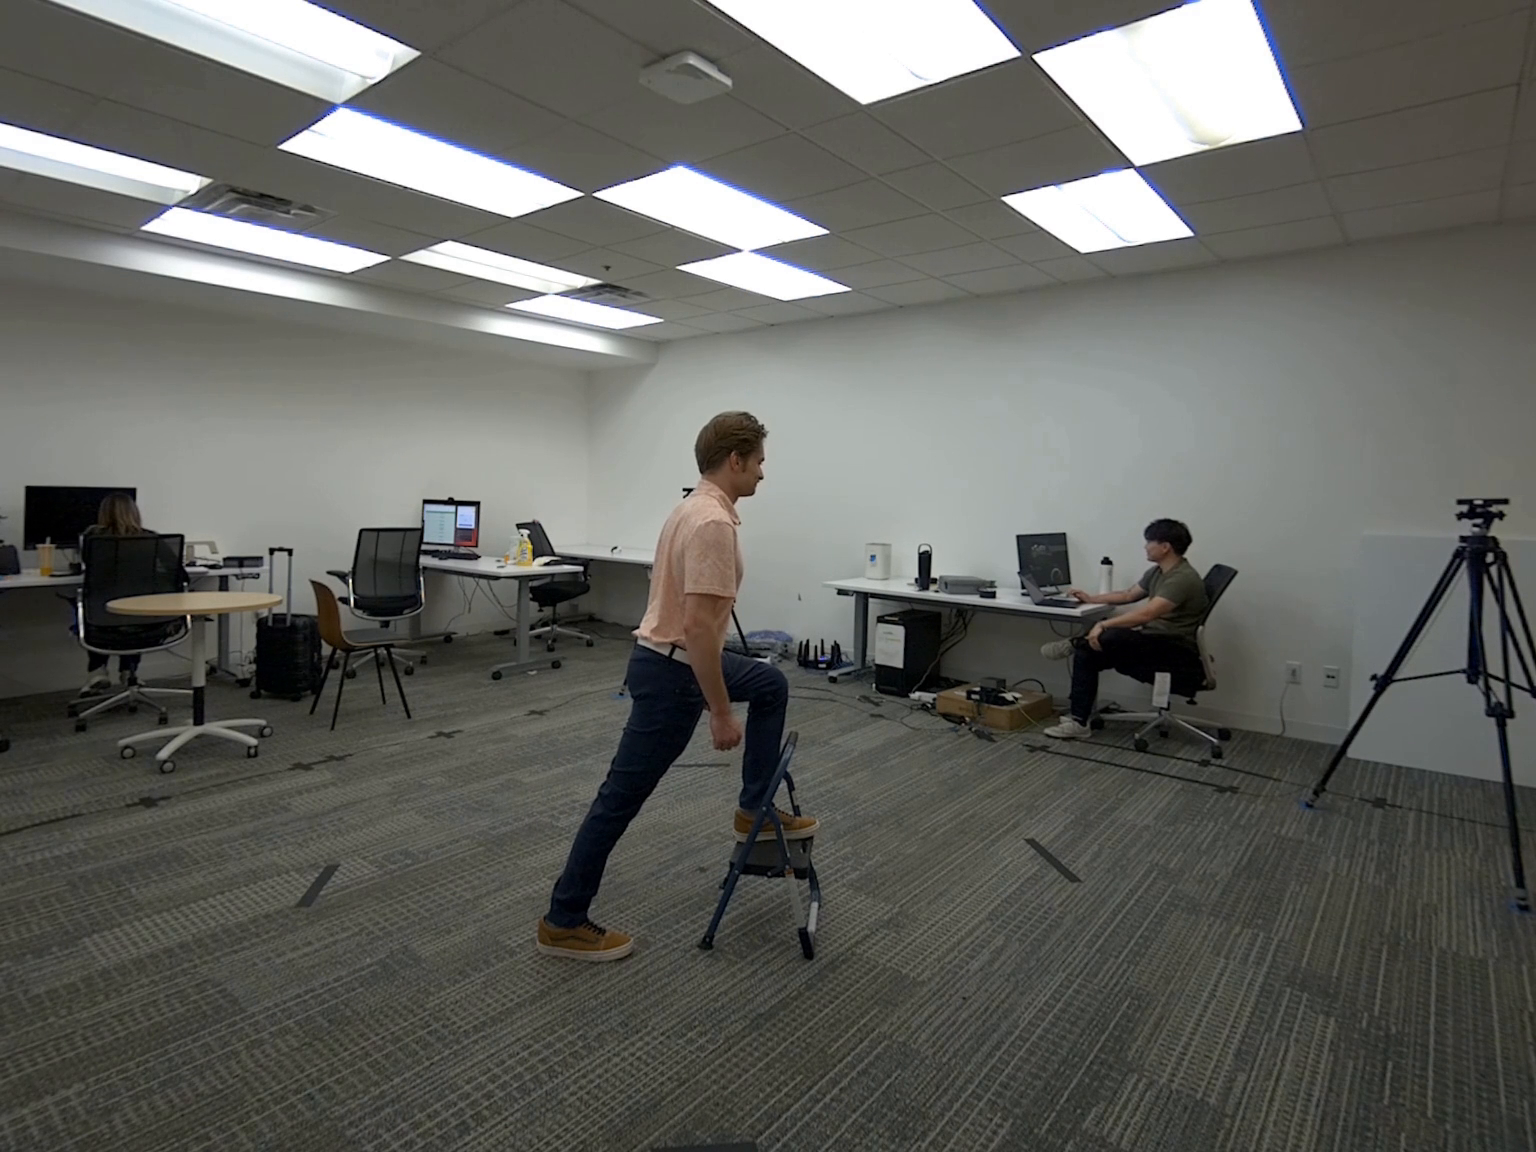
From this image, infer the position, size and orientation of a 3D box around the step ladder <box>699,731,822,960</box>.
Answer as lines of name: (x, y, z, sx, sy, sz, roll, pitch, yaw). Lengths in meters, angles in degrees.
step ladder: (-0.013, 0.808, 2.733, 0.353, 0.604, 0.428, 2, 4, 7)
